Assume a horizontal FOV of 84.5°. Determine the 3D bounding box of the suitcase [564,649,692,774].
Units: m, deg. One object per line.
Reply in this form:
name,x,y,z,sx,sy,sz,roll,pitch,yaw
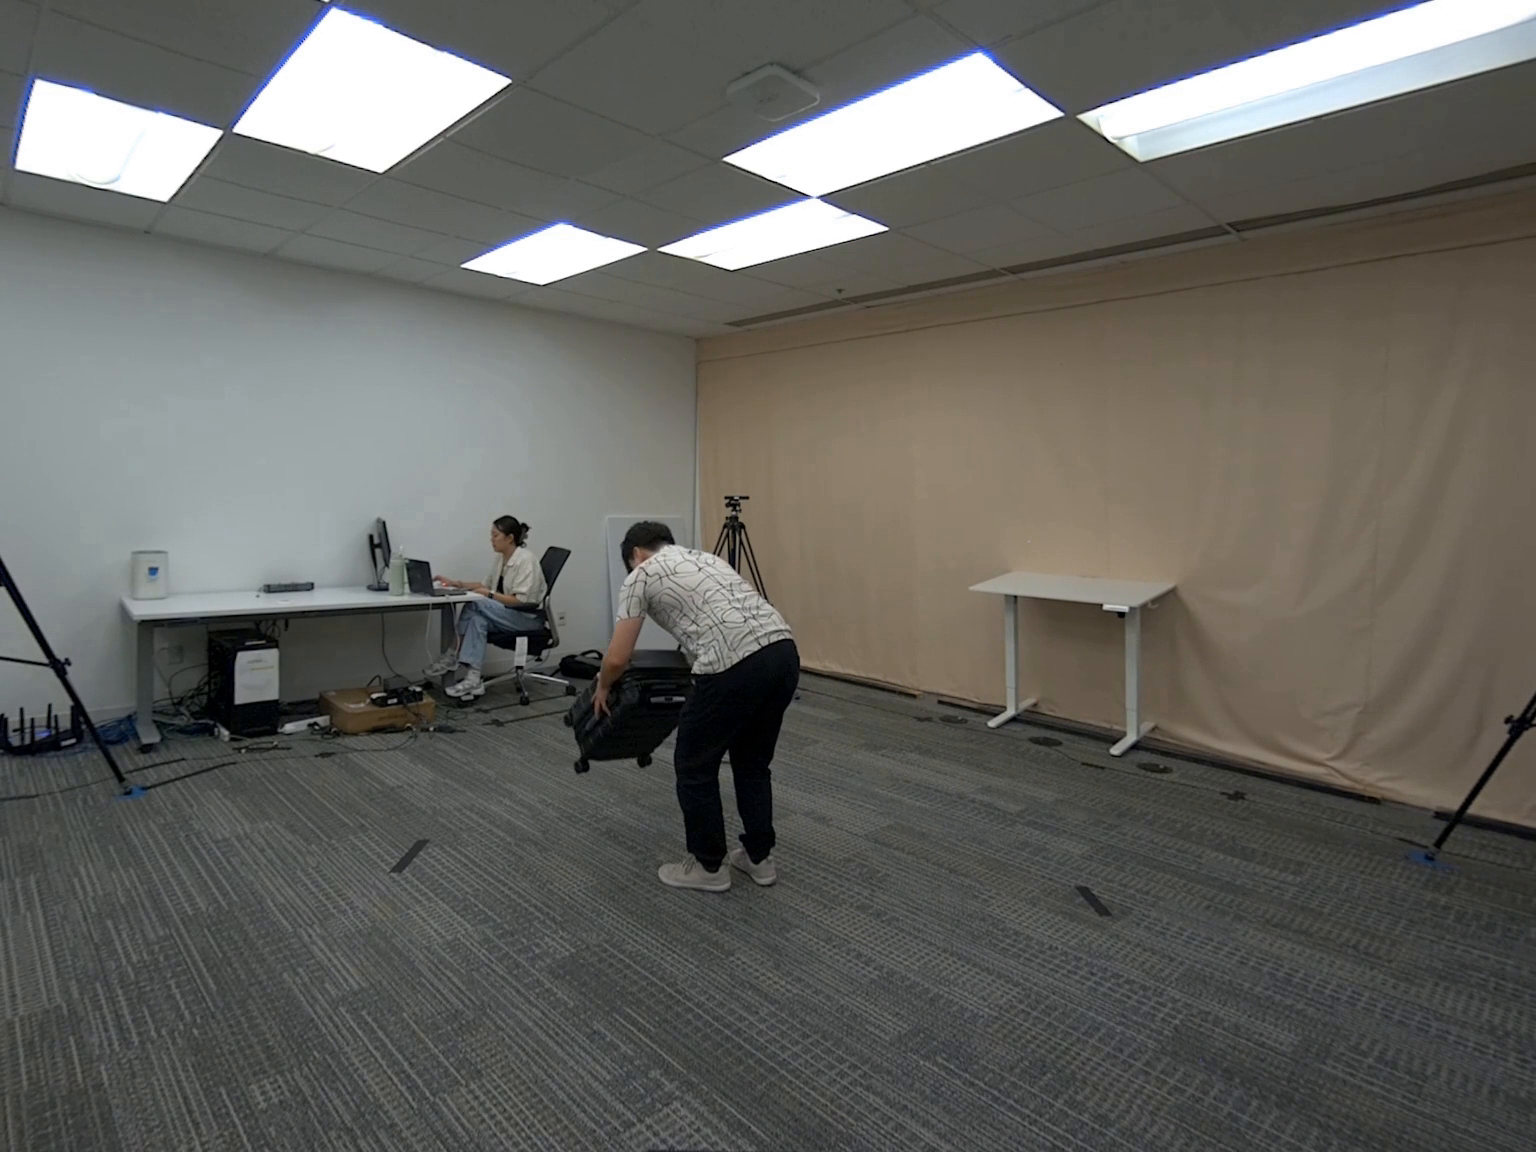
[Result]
suitcase,-0.555,0.528,3.384,0.366,0.255,0.548,5,-42,-37
